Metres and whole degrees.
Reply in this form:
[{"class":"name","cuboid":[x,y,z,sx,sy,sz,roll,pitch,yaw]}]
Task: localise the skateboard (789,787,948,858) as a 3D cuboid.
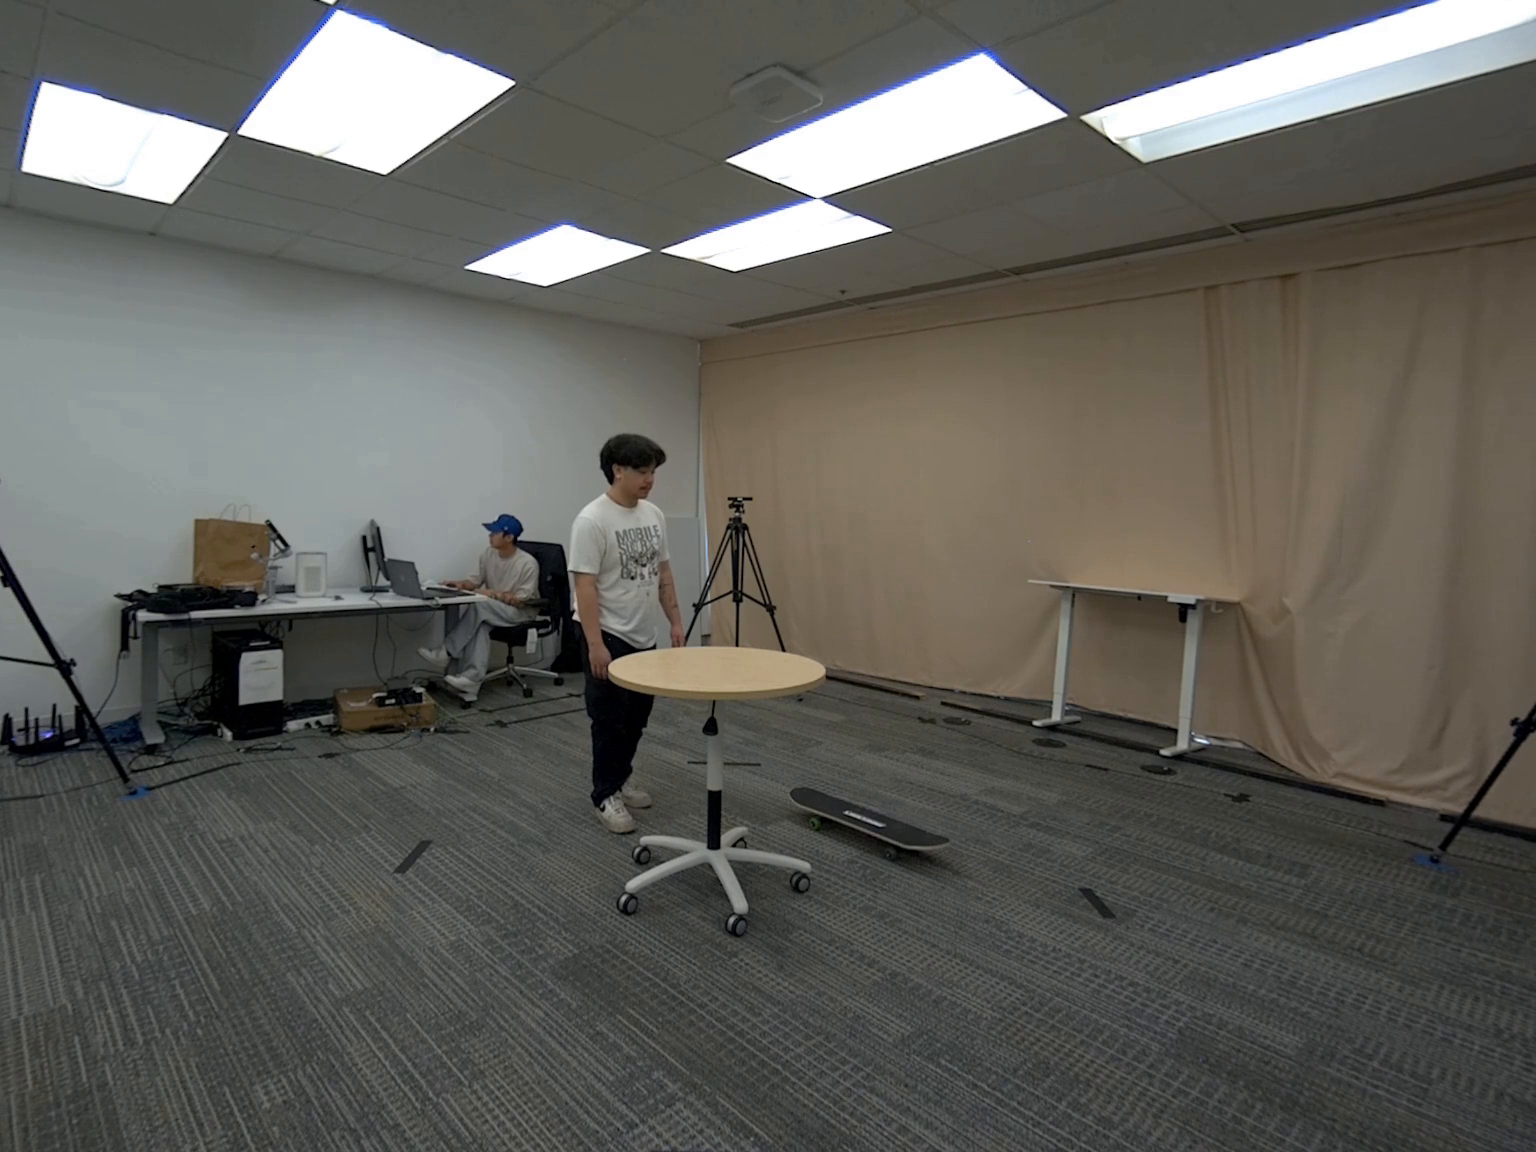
[{"class":"skateboard","cuboid":[0.389,1.036,3.488,0.189,0.110,0.806,-2,6,-43]}]
